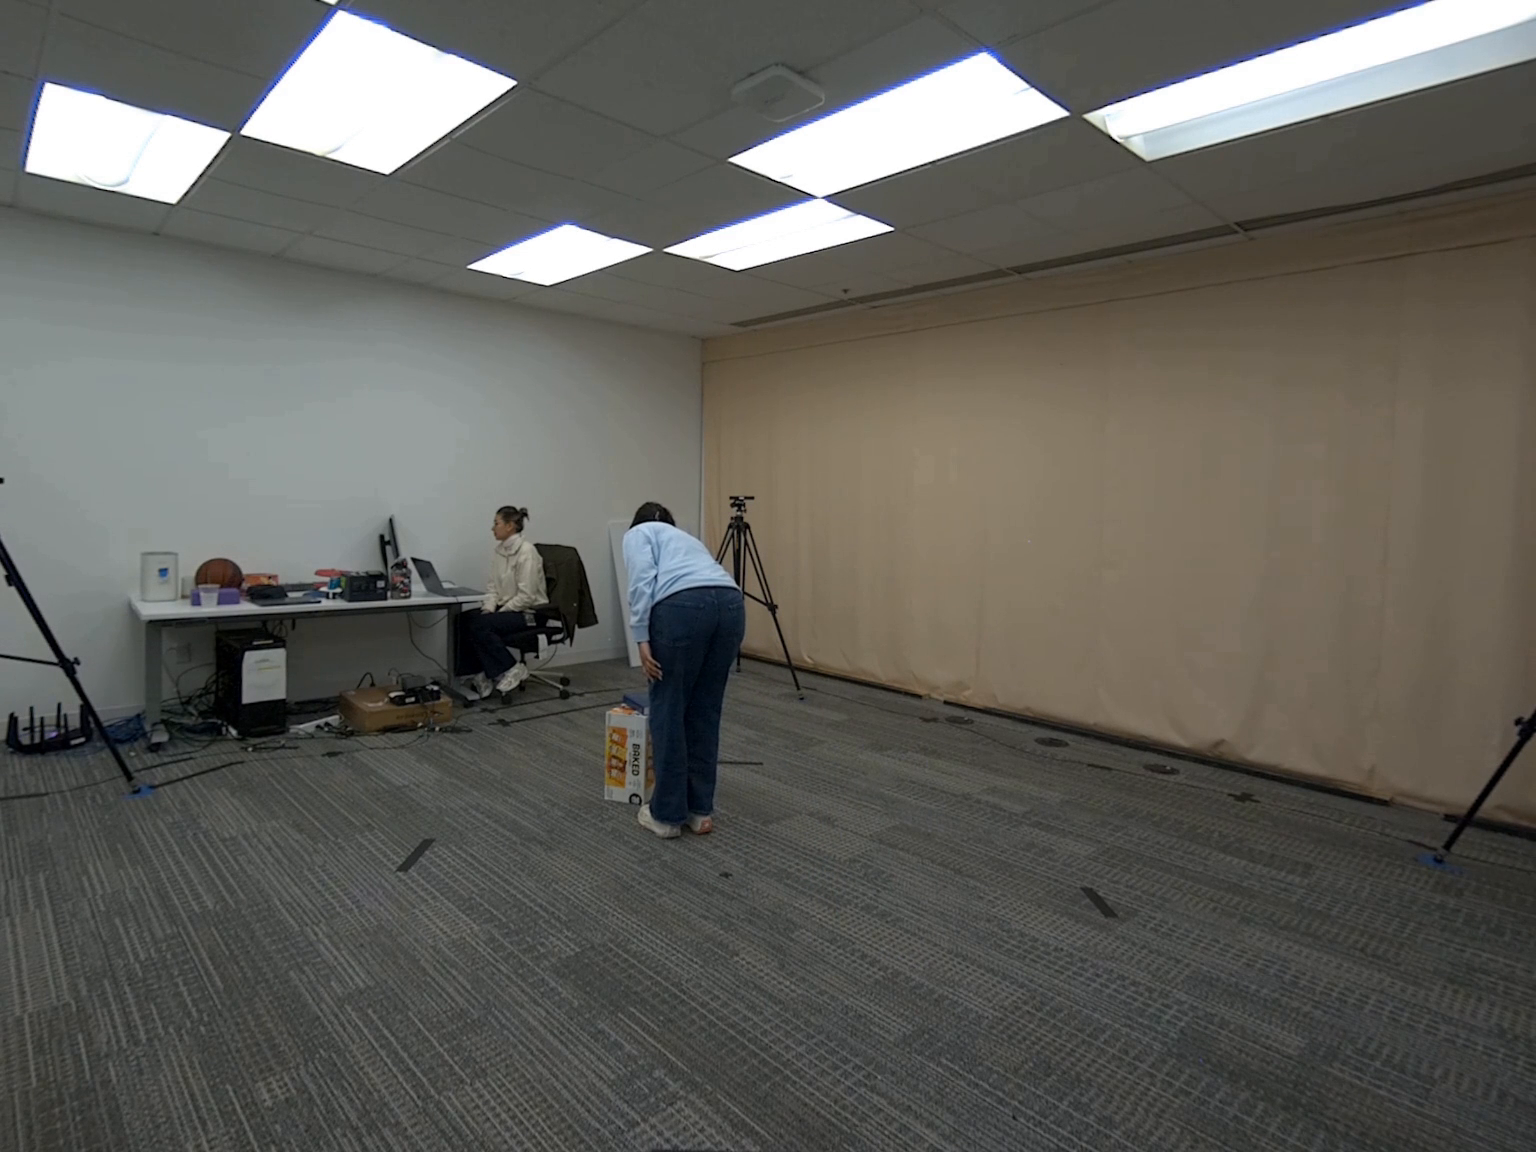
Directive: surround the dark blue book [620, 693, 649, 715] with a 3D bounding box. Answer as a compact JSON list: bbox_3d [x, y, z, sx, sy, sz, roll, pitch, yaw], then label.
[{"bbox_3d":[-0.562,0.588,3.932,0.160,0.045,0.251,-3,7,-32],"label":"dark blue book"}]
